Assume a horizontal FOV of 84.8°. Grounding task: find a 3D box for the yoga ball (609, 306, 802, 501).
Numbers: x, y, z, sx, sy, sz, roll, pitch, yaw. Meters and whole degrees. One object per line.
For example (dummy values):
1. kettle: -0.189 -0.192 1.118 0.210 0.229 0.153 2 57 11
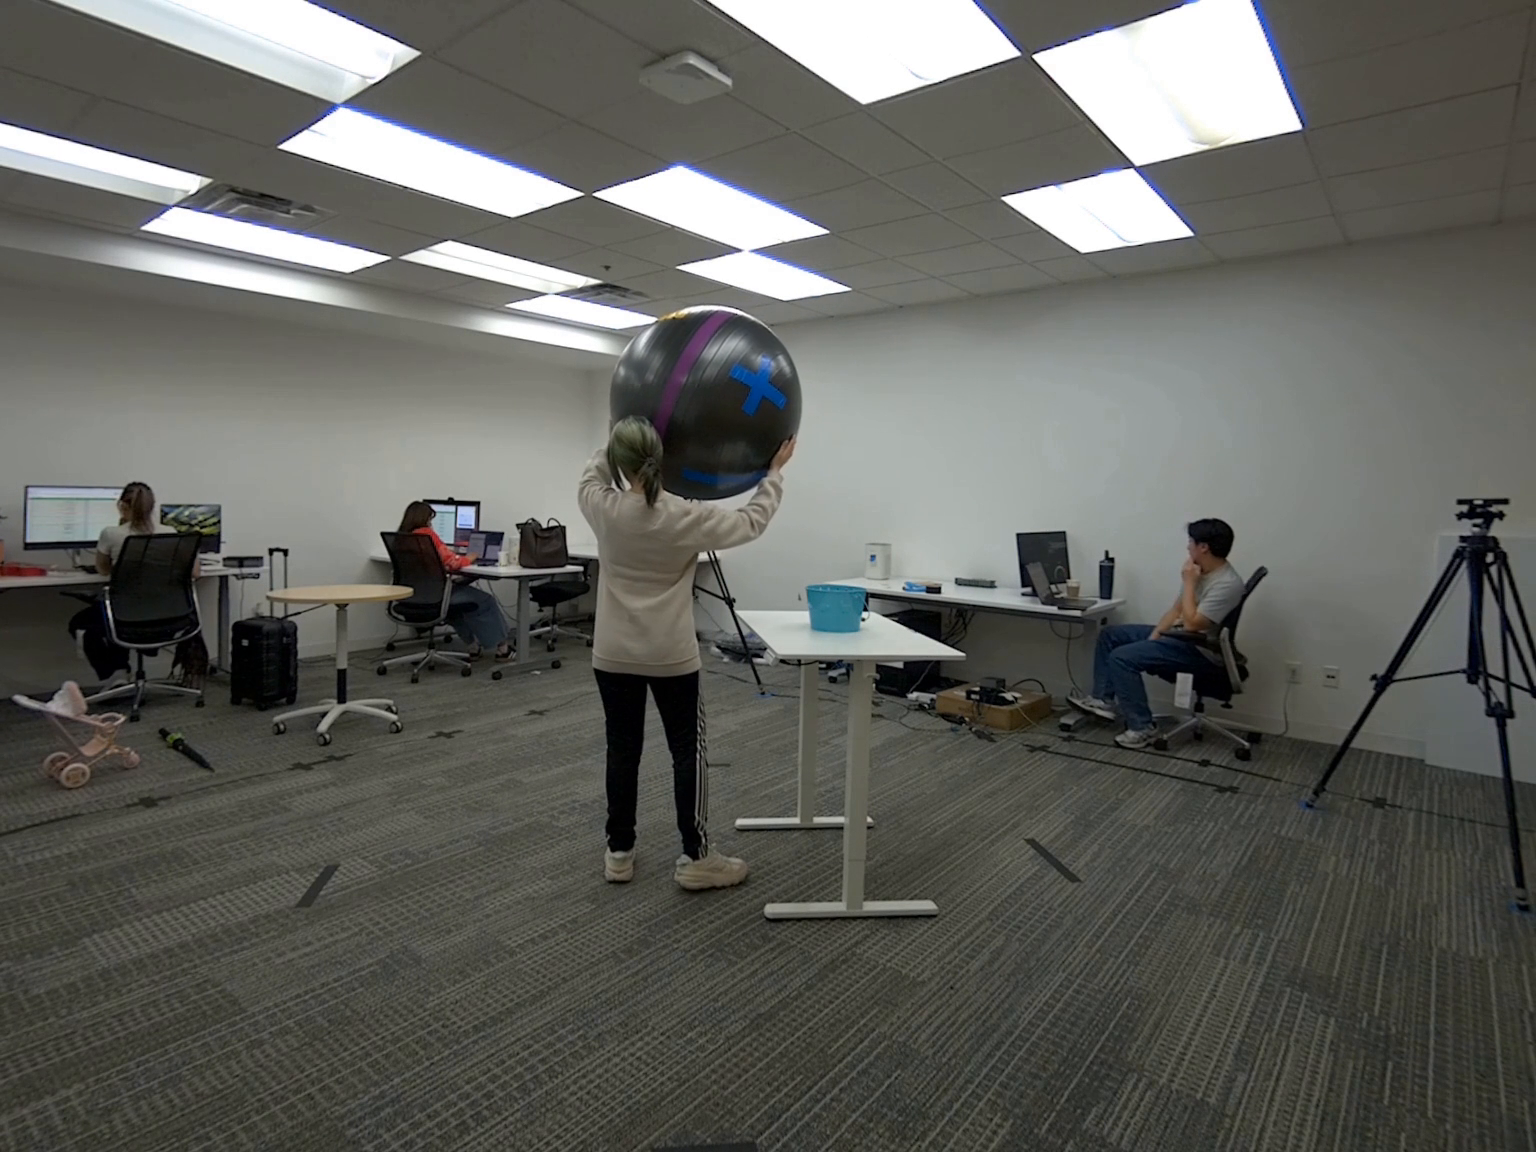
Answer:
1. yoga ball: -0.258 -0.677 3.356 0.757 0.755 0.762 1 4 -2
